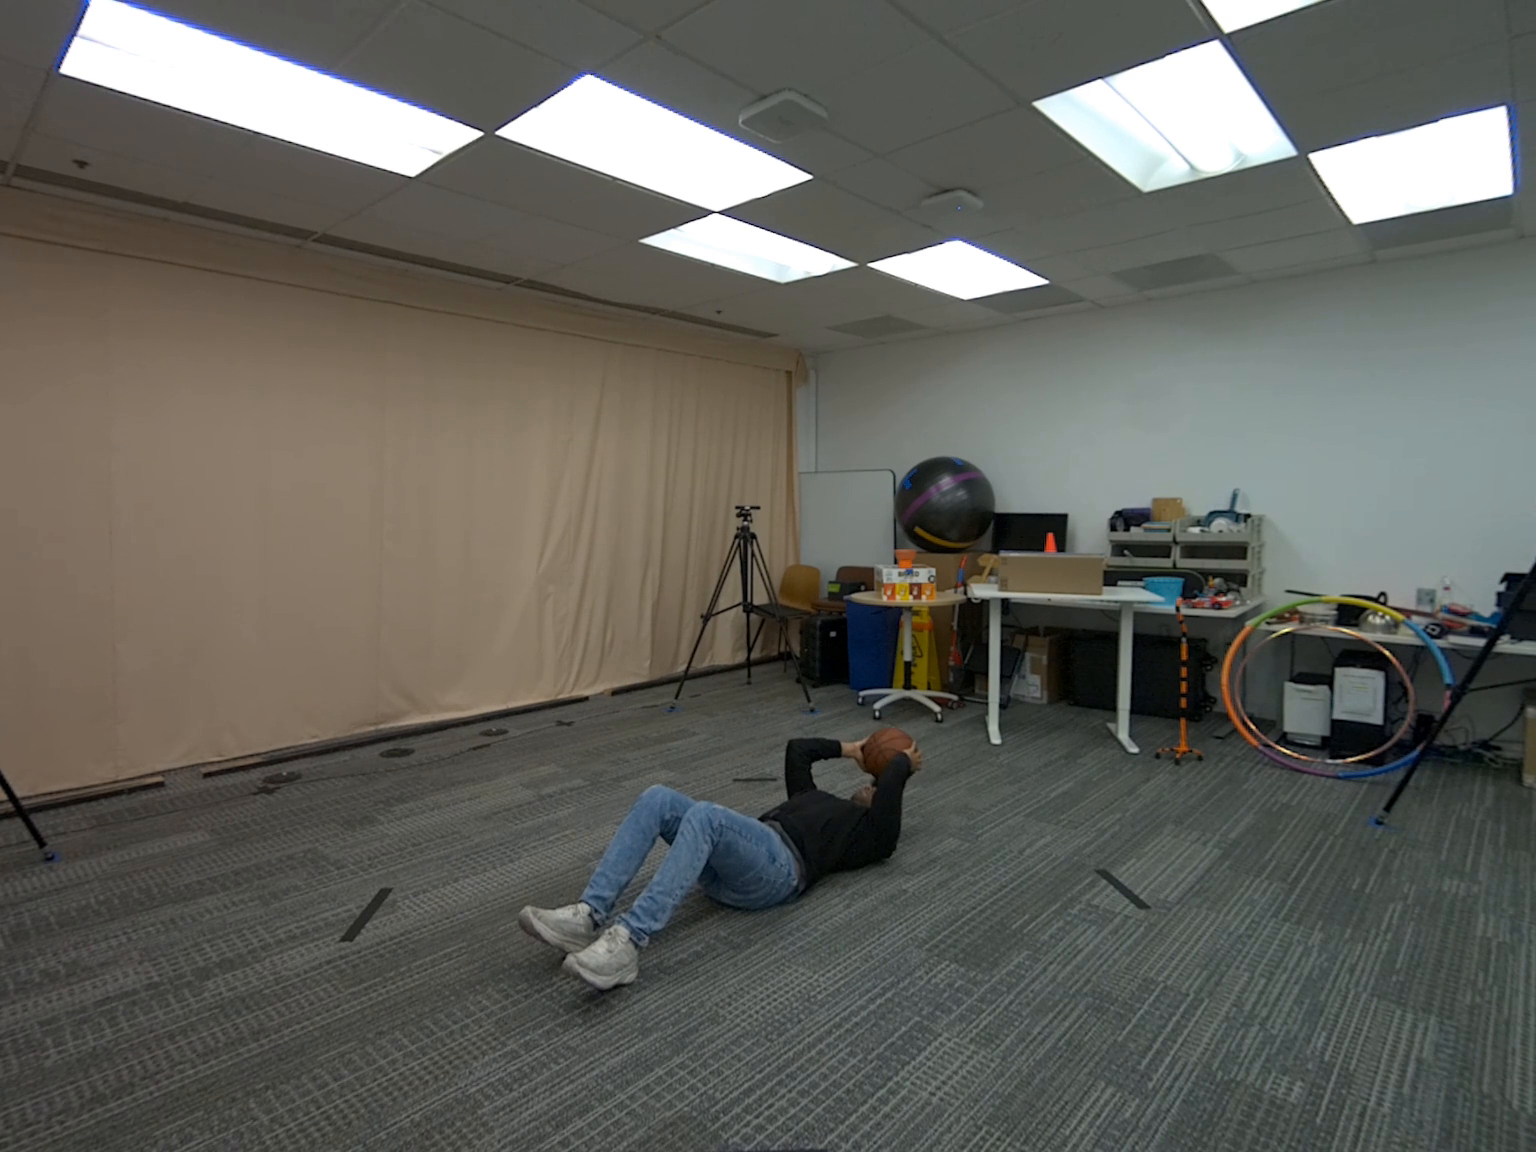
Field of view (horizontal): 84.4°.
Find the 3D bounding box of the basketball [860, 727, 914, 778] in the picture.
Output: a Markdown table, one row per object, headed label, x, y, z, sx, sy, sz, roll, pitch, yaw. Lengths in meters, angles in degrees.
| label | x | y | z | sx | sy | sz | roll | pitch | yaw |
| --- | --- | --- | --- | --- | --- | --- | --- | --- | --- |
| basketball | 0.532 | 0.777 | 3.655 | 0.236 | 0.235 | 0.237 | 0 | 4 | -2 |
